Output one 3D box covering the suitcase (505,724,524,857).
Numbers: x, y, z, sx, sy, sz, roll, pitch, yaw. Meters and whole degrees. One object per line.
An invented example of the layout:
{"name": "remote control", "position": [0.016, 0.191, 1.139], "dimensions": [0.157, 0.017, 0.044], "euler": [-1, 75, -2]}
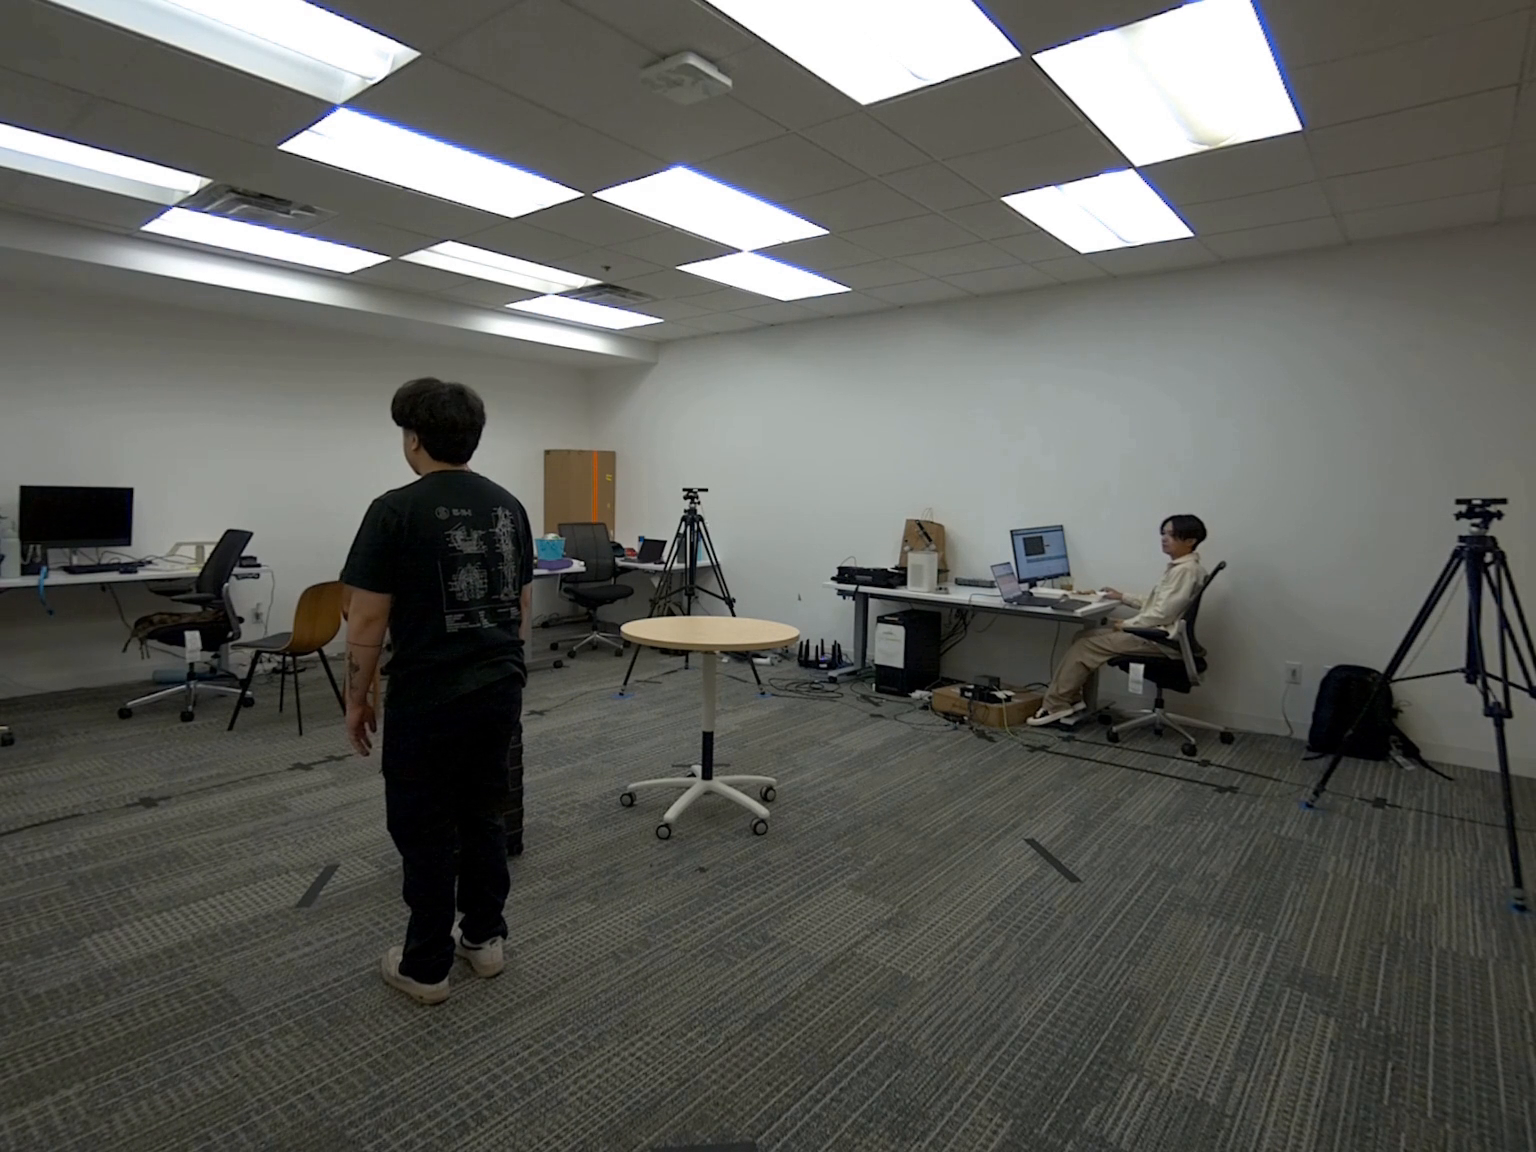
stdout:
{"name": "suitcase", "position": [-1.116, 0.776, 3.137], "dimensions": [0.257, 0.547, 0.364], "euler": [6, 6, 38]}
